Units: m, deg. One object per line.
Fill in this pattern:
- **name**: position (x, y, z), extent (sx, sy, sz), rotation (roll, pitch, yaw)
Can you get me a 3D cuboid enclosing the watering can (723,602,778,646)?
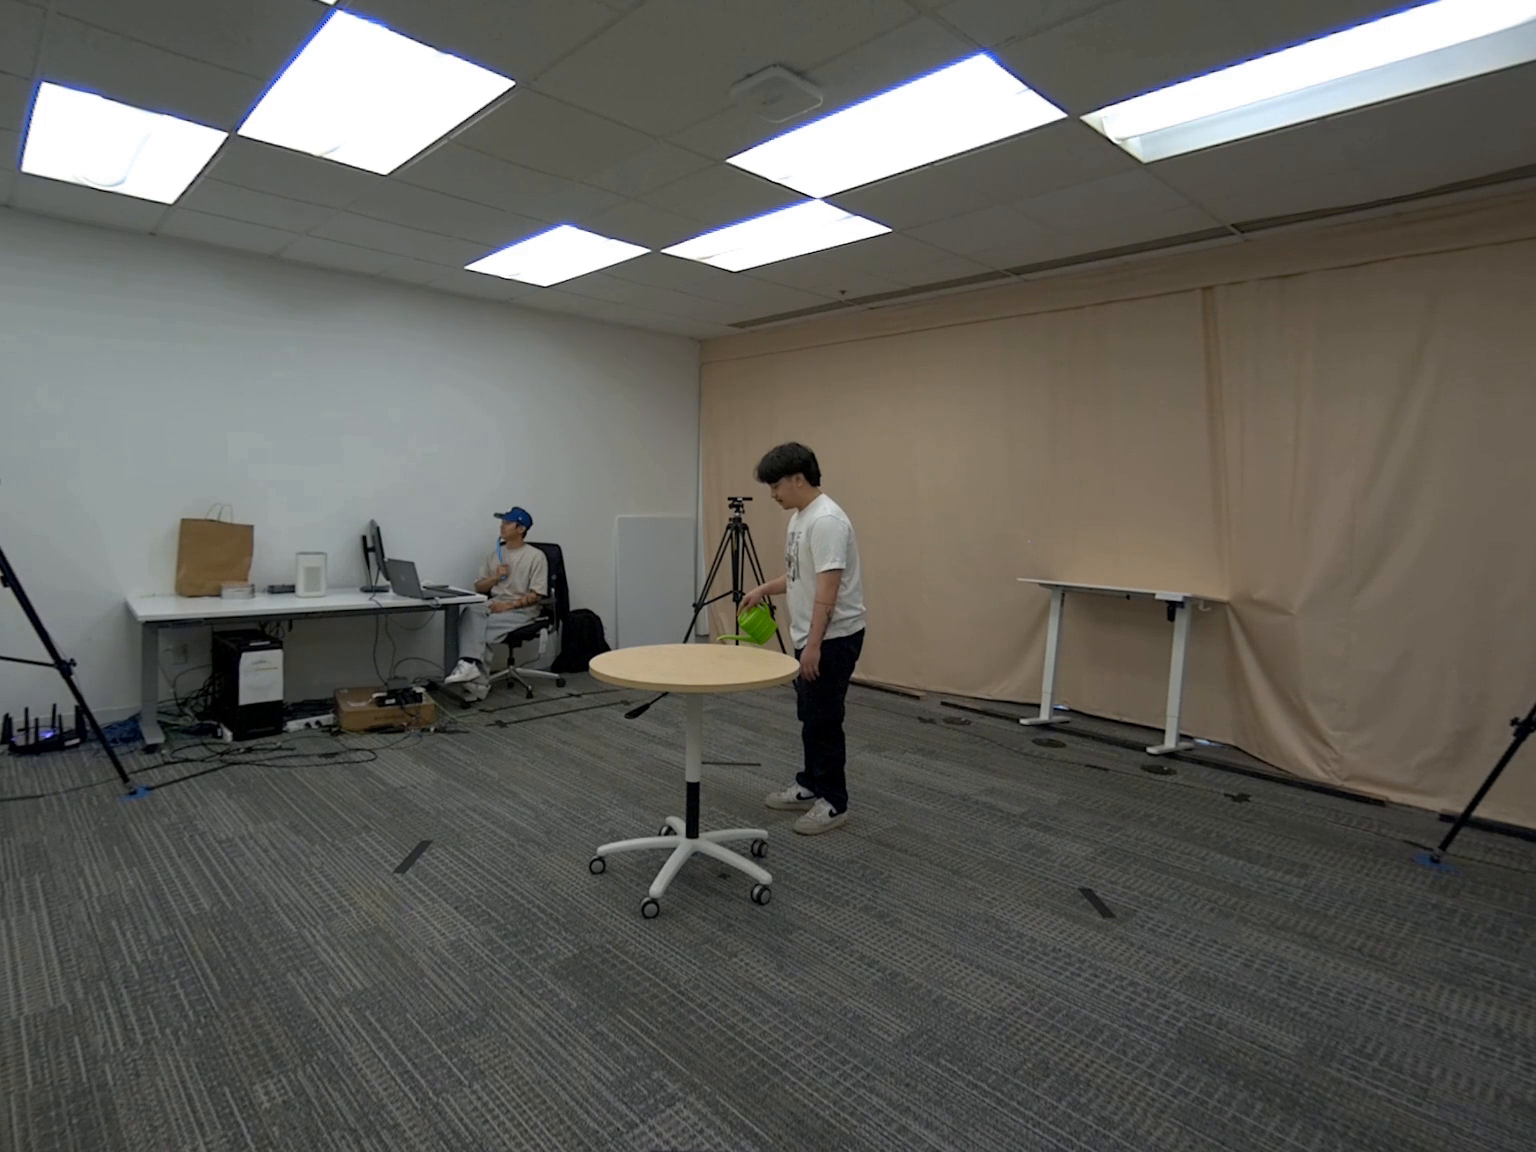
- **watering can**: position (-0.093, 0.241, 3.845), extent (0.174, 0.278, 0.099), rotation (46, 5, -15)
